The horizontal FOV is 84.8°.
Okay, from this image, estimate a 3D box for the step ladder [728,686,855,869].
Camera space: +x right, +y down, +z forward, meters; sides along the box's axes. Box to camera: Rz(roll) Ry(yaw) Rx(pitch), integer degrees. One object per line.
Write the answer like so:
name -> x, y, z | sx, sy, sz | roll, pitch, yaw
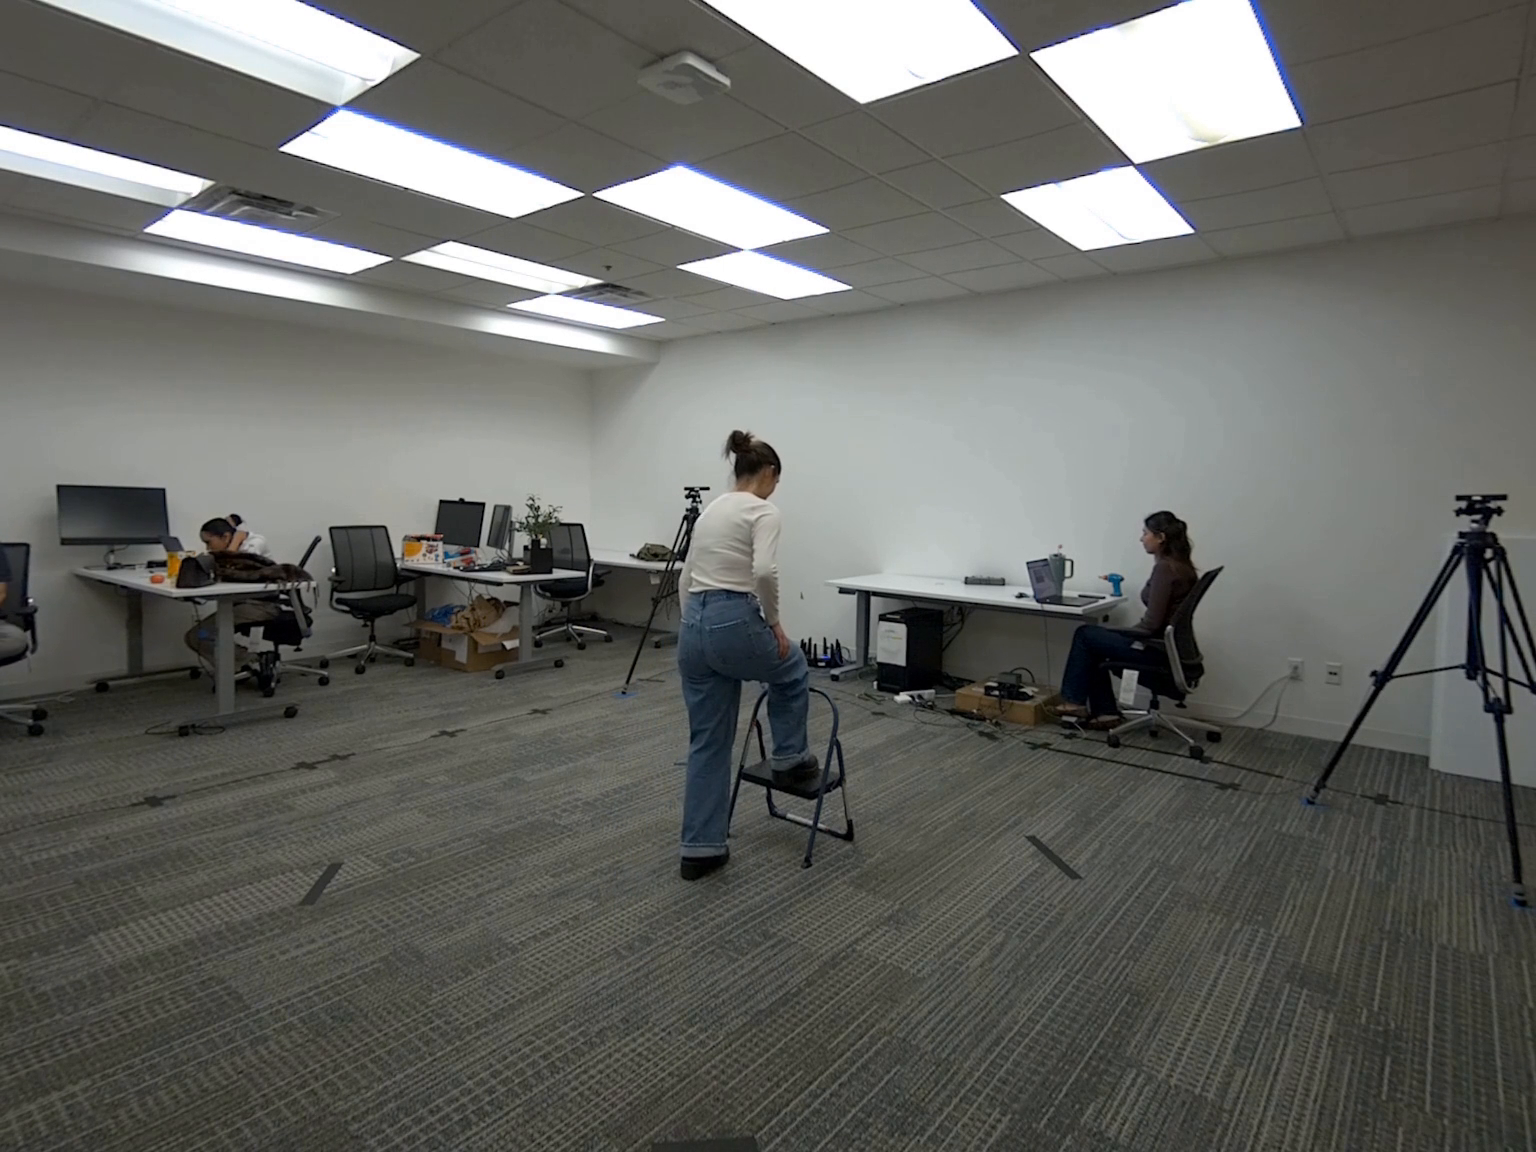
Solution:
step ladder -> 0.077, 0.739, 3.374 | 0.445, 0.604, 0.339 | 4, 5, 38
